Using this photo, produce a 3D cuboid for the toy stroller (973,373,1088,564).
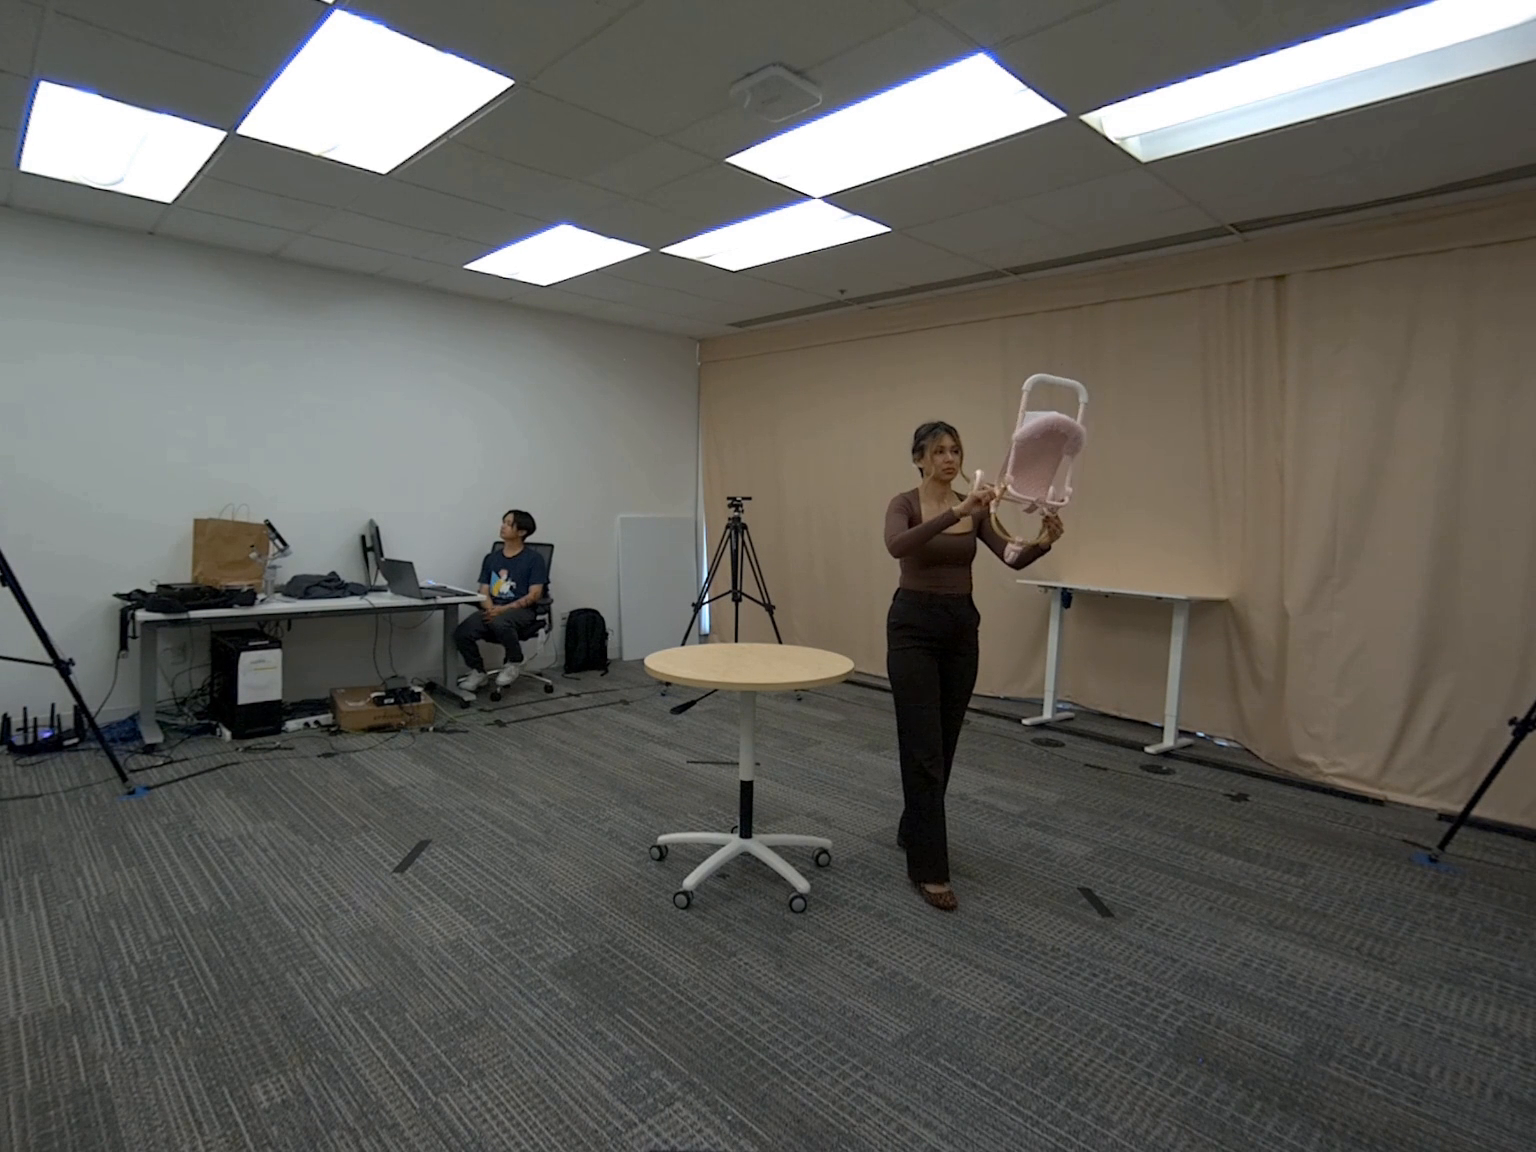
[{"bbox_3d":[0.843,-0.327,2.708,0.282,0.527,0.346,16,39,1],"label":"toy stroller"}]
